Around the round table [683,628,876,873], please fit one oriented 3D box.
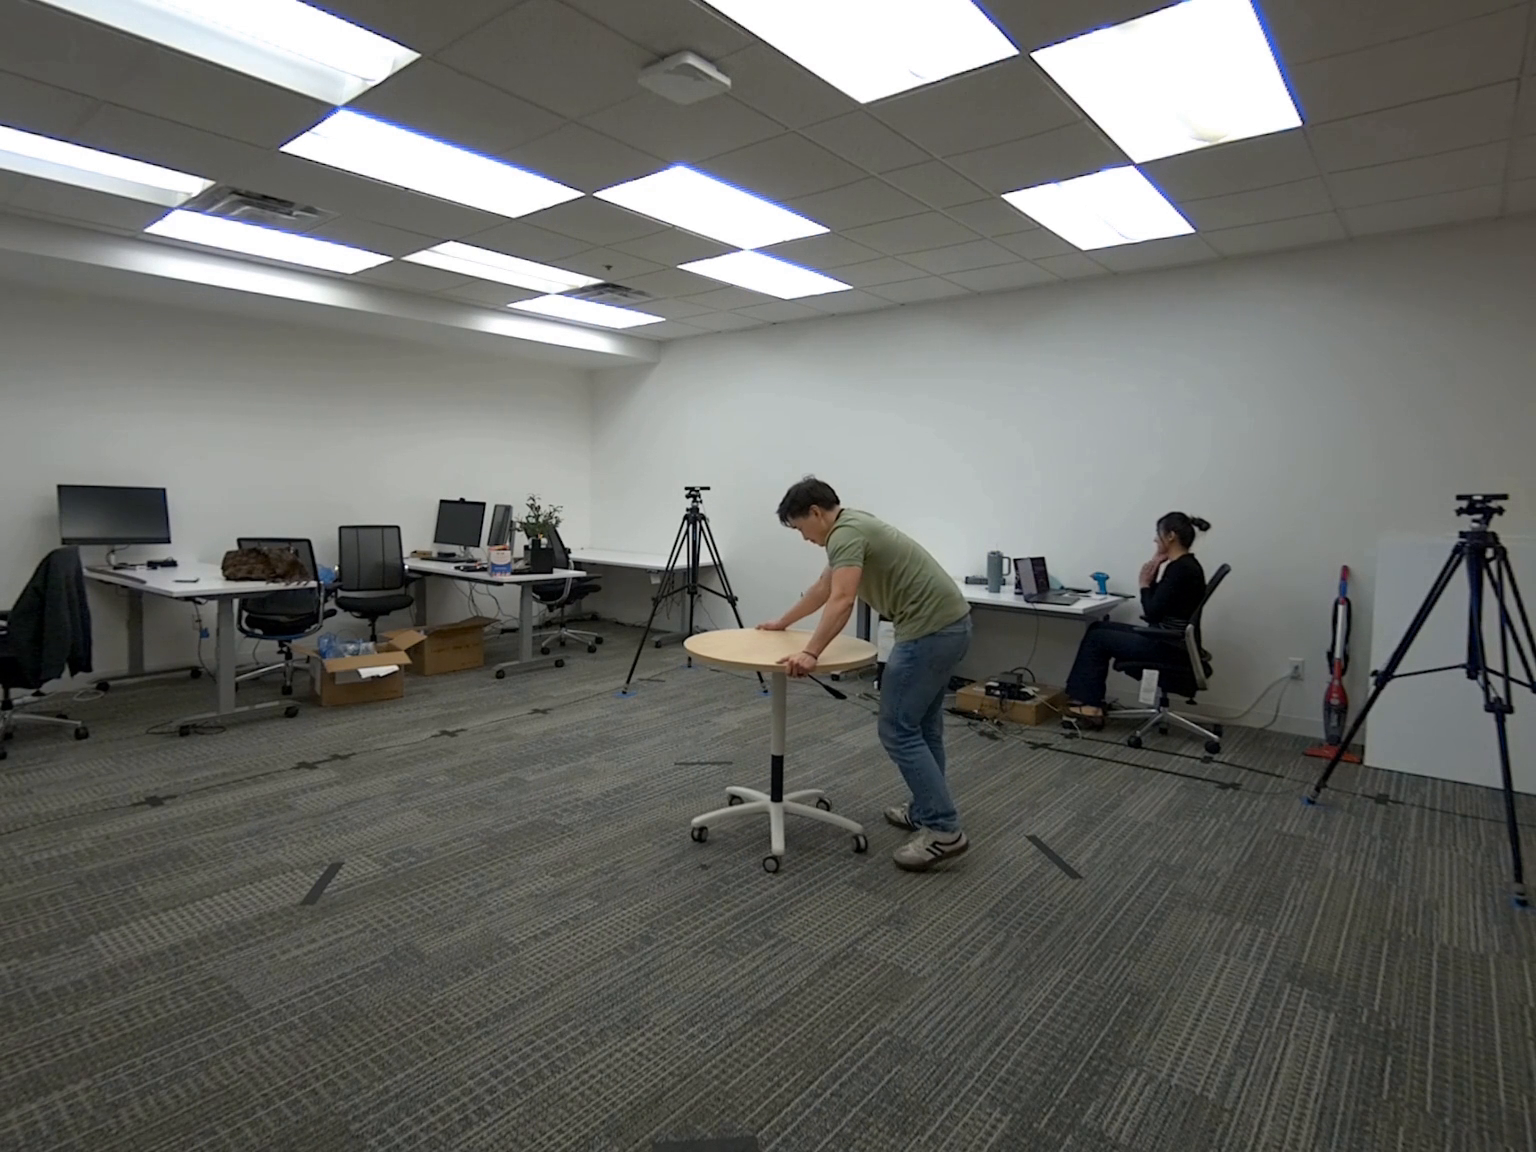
[{"bbox_3d":[0.033,0.658,3.408,0.763,0.791,0.768,1,4,-2],"label":"round table"}]
